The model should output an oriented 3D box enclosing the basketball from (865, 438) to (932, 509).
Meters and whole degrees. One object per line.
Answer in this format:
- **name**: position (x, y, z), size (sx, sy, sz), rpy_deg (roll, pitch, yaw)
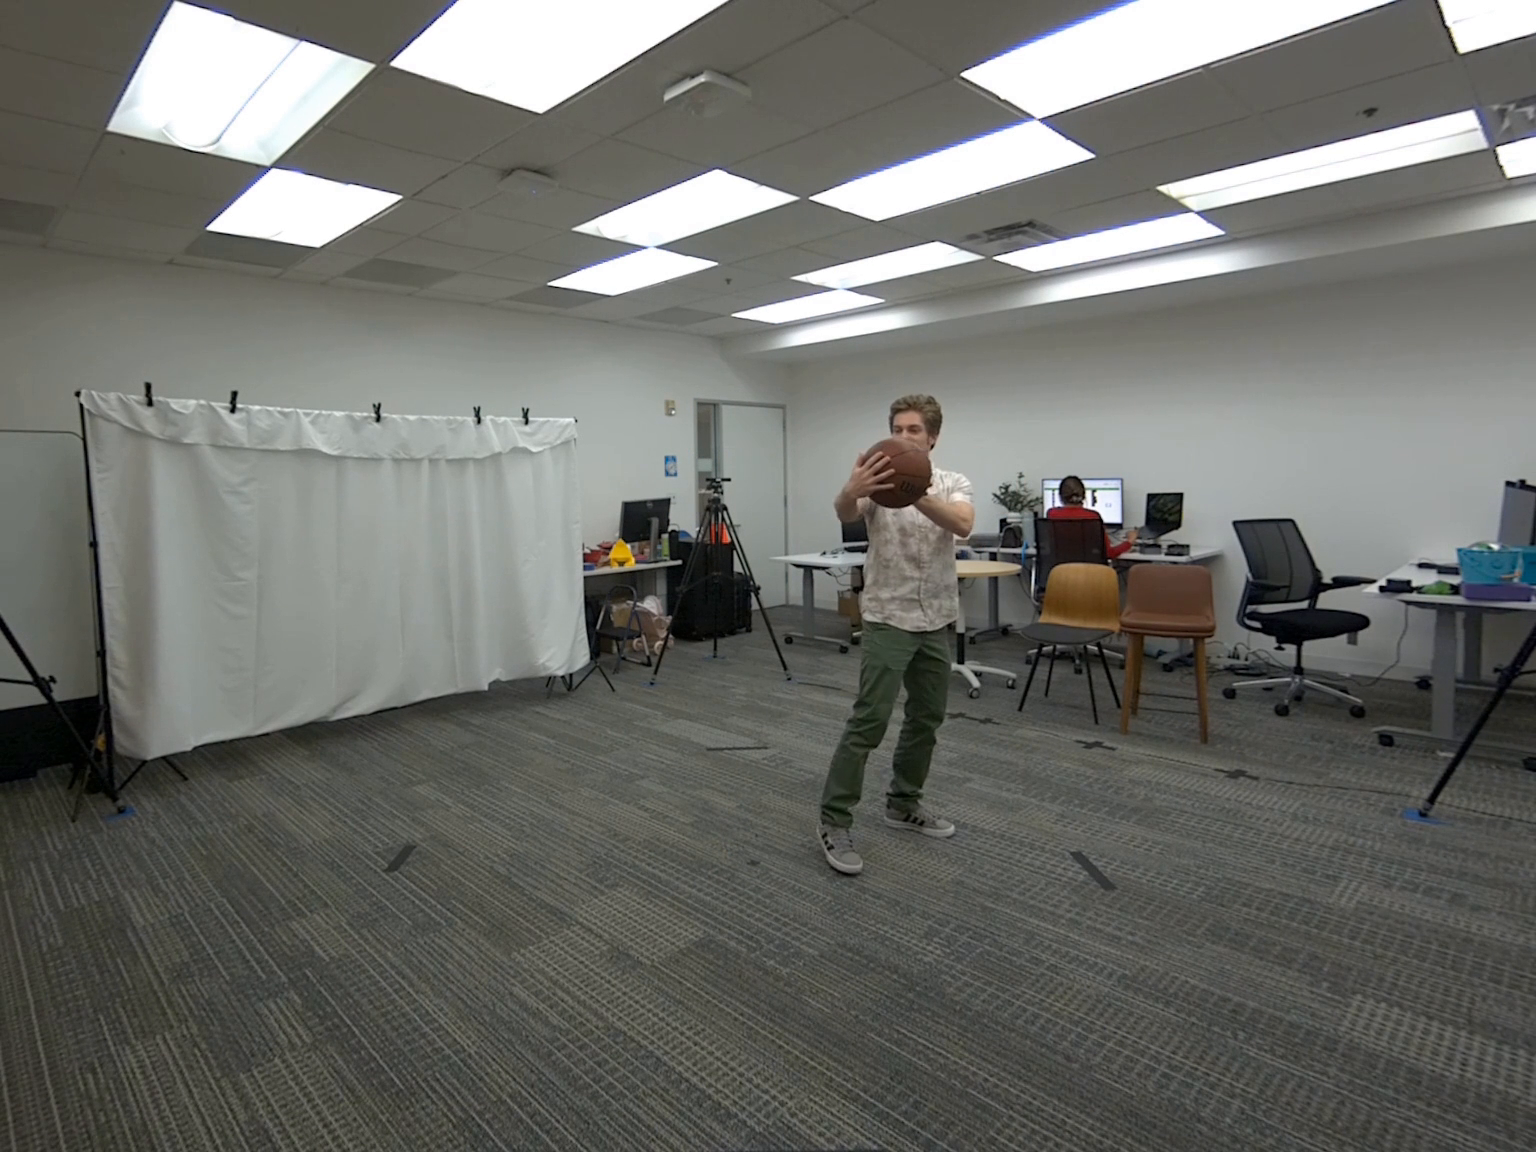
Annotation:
- **basketball**: position (0.440, -0.348, 2.878), size (0.236, 0.235, 0.237), rpy_deg (-1, 5, -2)
